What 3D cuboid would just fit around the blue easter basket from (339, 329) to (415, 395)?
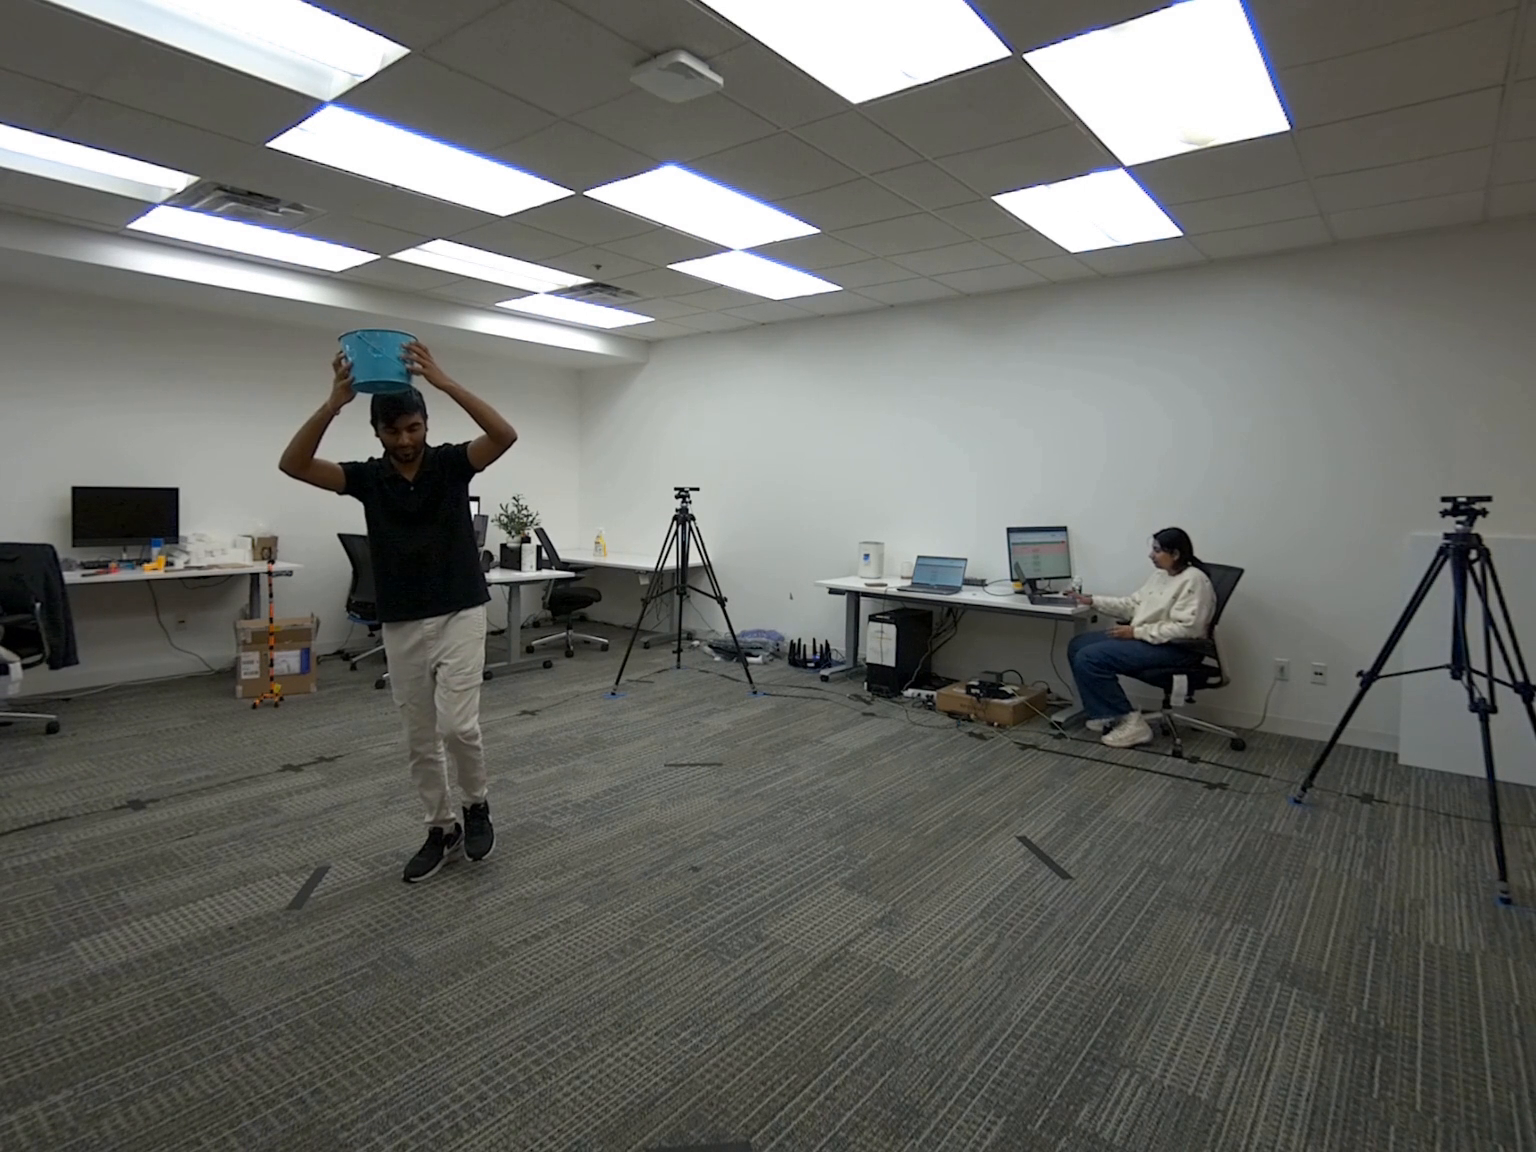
[{"bbox_3d":[-1.218,-0.661,2.638,0.243,0.156,0.244,-4,1,-2],"label":"blue easter basket"}]
